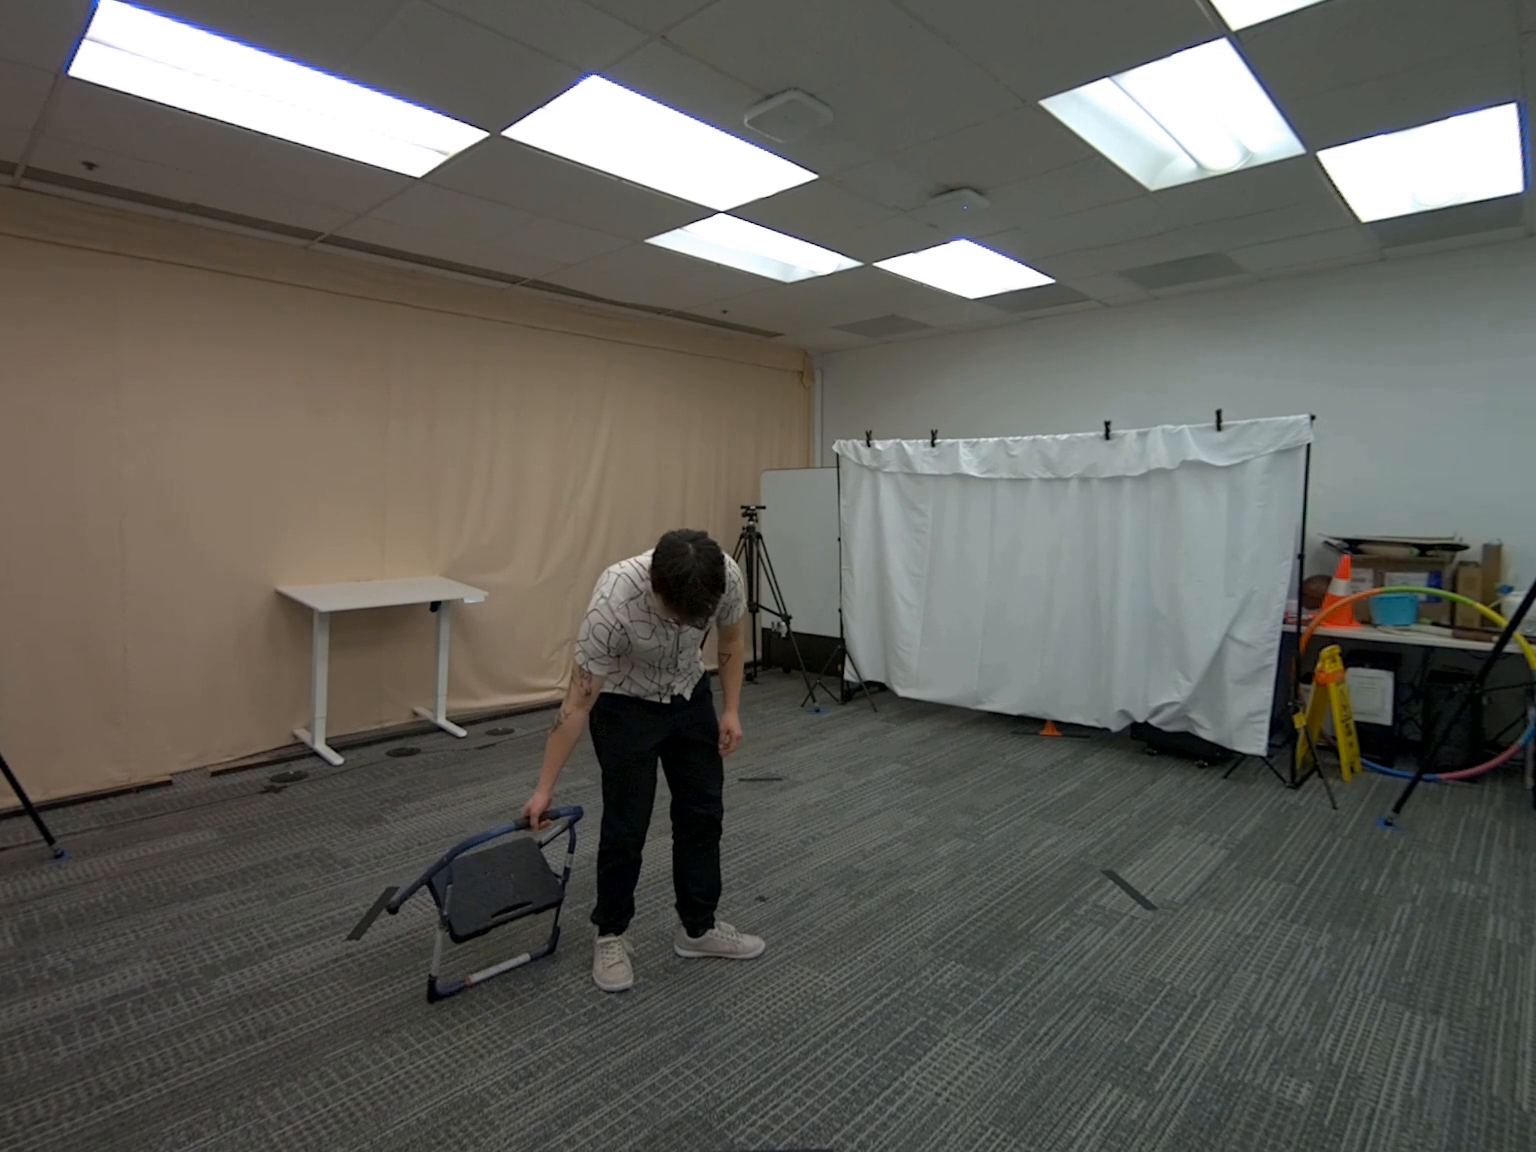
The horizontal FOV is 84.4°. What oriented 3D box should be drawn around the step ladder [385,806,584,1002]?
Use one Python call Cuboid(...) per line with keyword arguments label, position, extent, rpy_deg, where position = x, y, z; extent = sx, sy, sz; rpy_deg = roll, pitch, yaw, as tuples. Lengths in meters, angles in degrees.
Cuboid(label="step ladder", position=(-0.793, 0.857, 2.461), extent=(0.417, 0.604, 0.361), rpy_deg=(-5, 41, -45))
